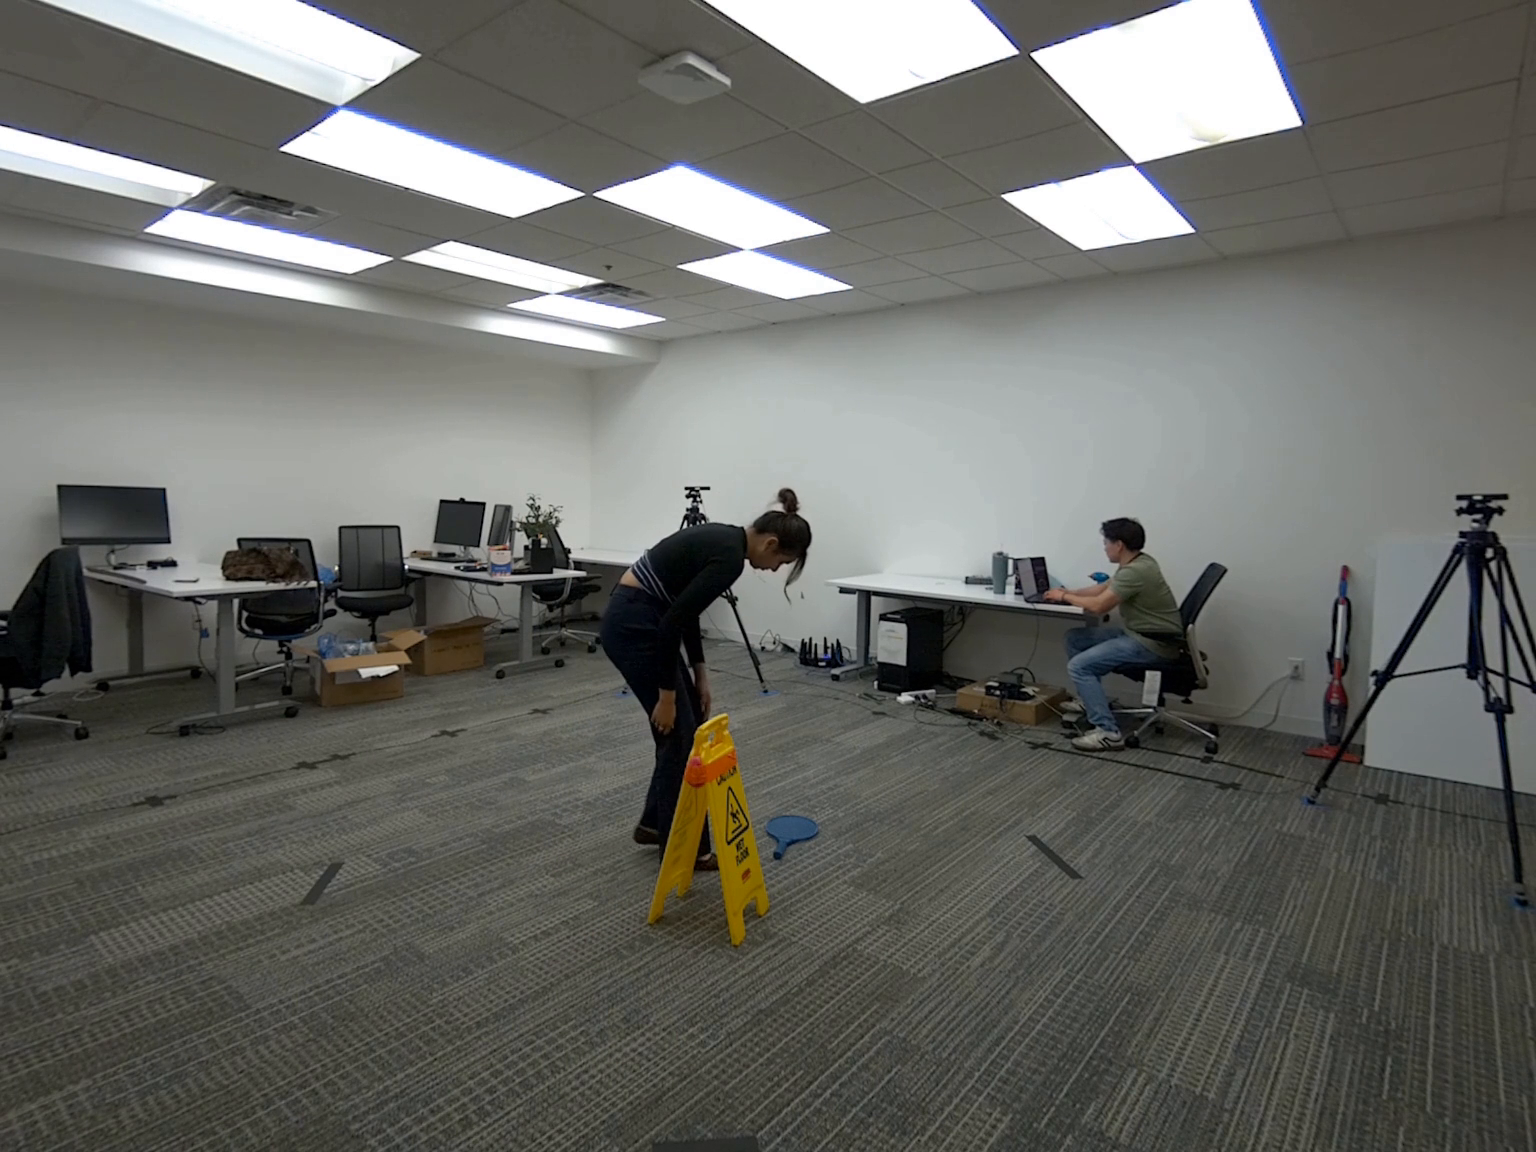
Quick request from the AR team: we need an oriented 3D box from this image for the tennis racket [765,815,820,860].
[{"bbox_3d":[0.067,1.028,3.394,0.217,0.032,0.426,2,4,15],"label":"tennis racket"}]
